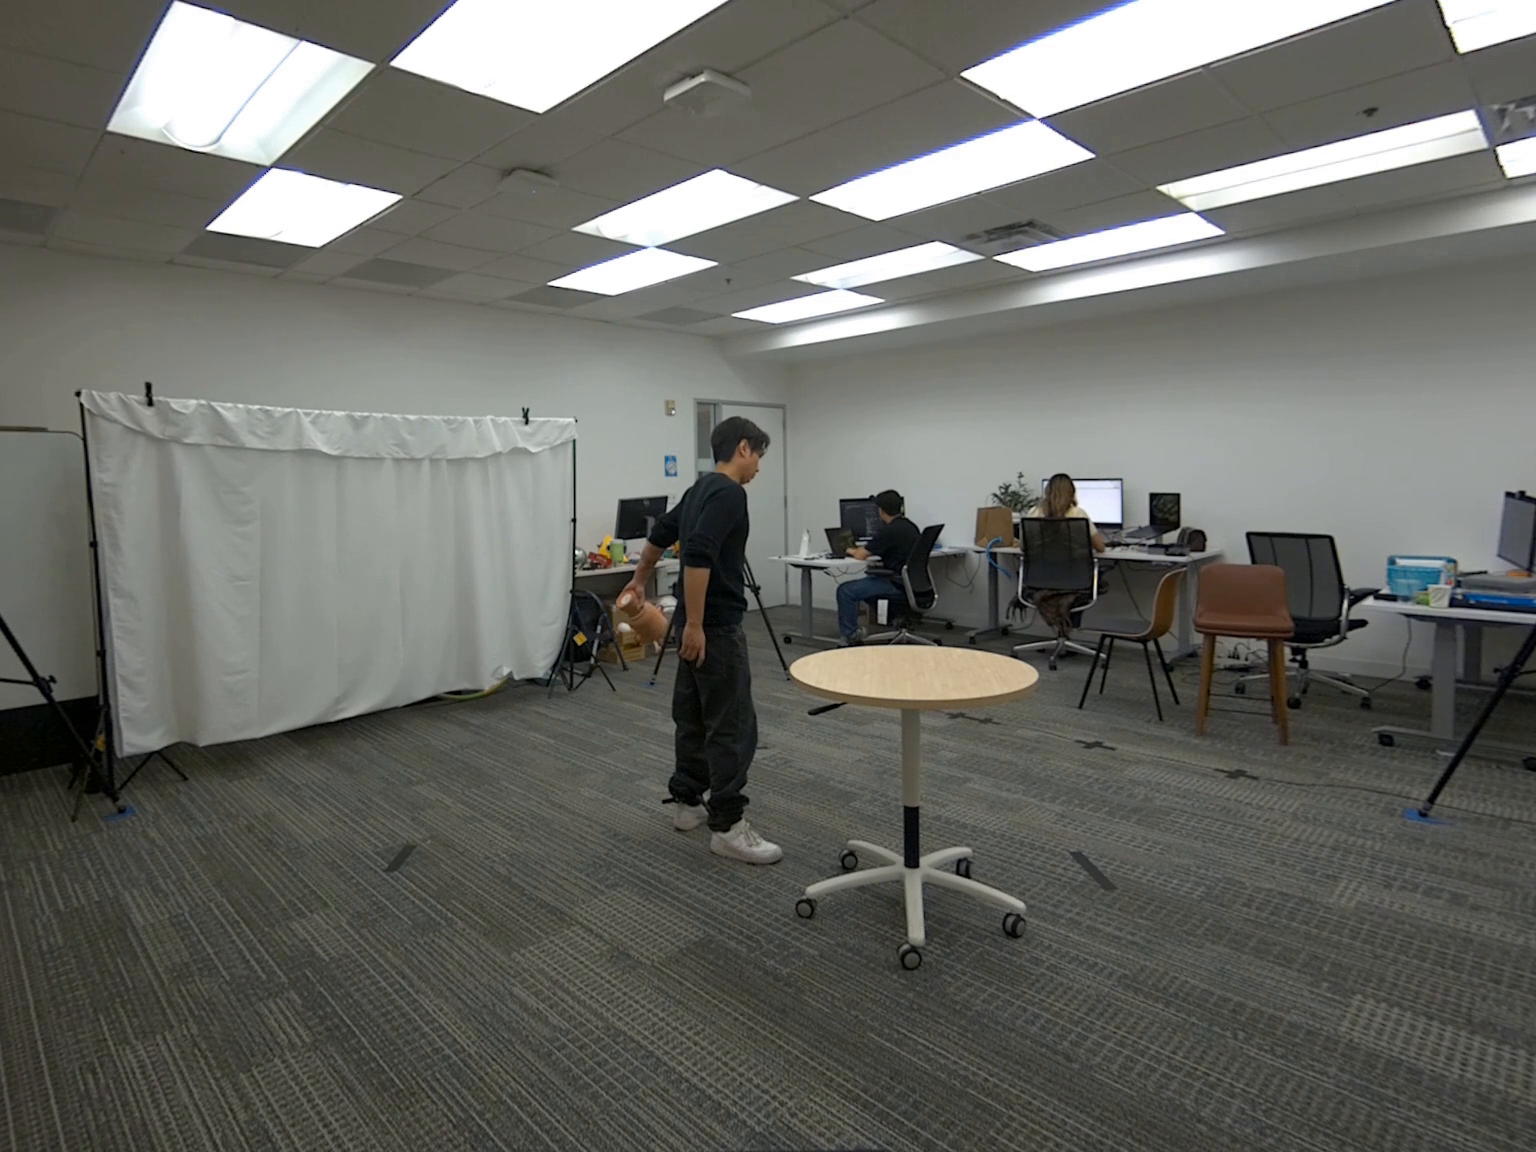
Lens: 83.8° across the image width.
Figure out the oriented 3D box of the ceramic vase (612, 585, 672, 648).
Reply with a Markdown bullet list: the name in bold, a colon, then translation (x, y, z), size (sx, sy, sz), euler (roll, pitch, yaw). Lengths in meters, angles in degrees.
- **ceramic vase**: translation (-0.542, 0.161, 3.684), size (0.136, 0.212, 0.163), euler (-26, 36, 21)
